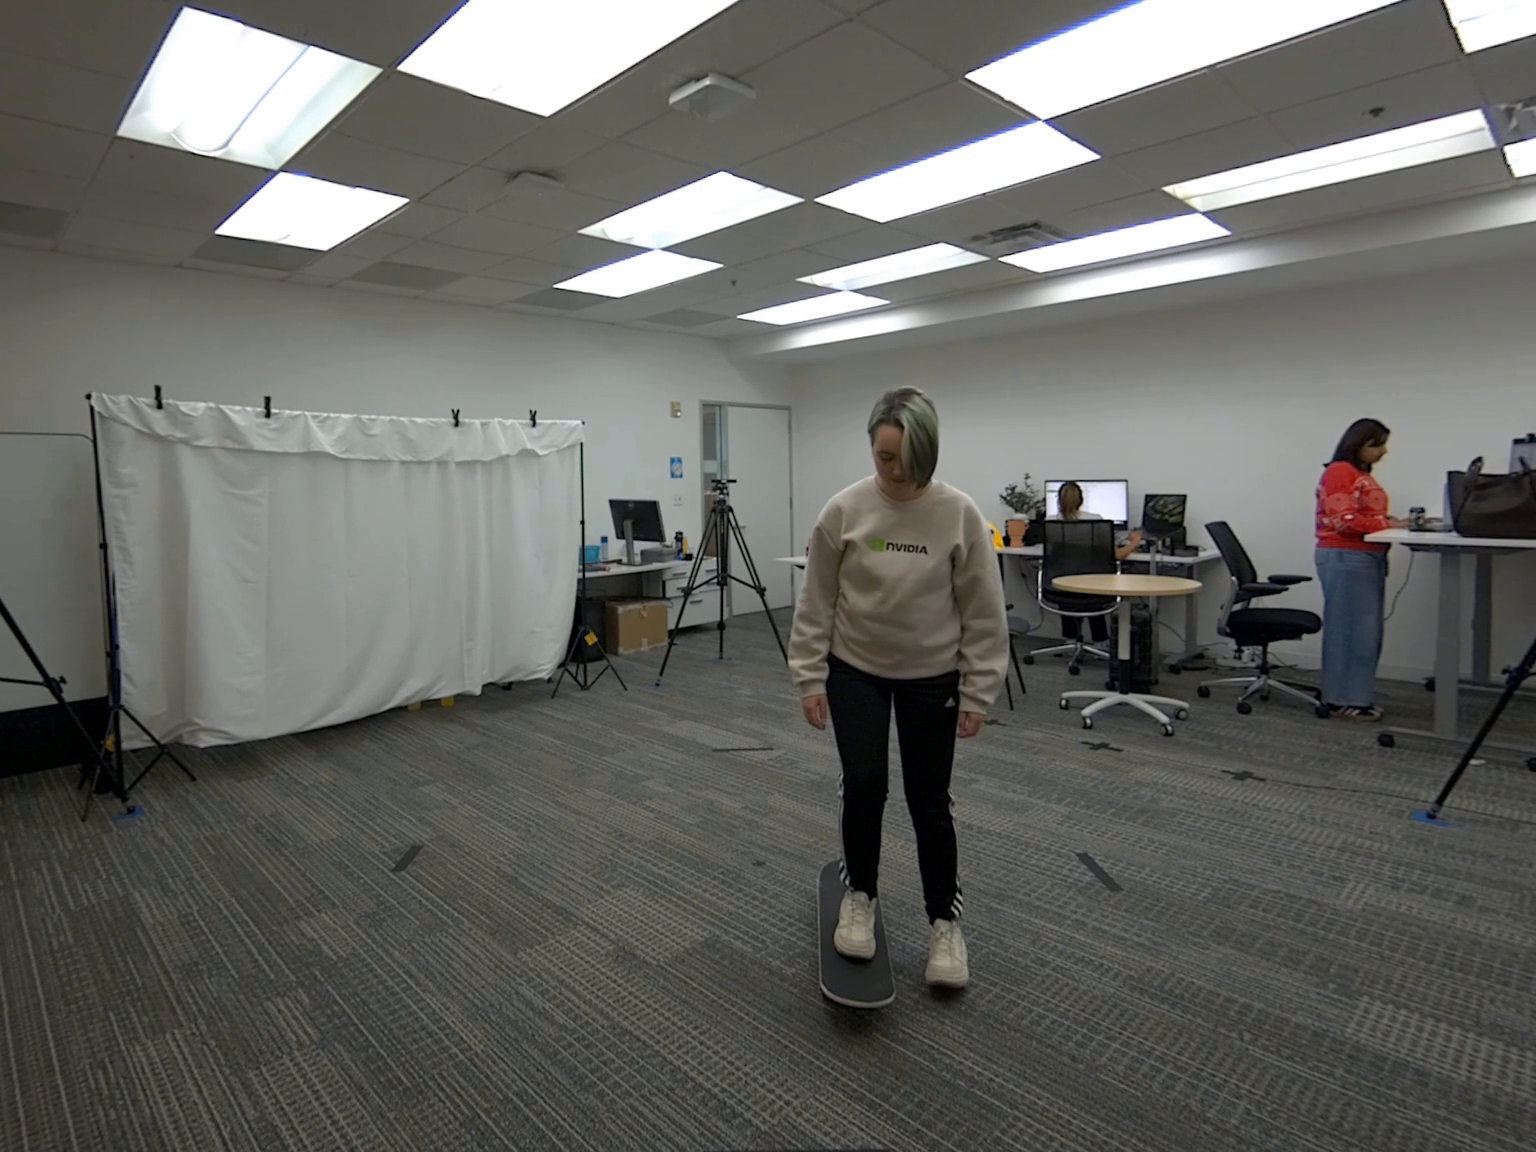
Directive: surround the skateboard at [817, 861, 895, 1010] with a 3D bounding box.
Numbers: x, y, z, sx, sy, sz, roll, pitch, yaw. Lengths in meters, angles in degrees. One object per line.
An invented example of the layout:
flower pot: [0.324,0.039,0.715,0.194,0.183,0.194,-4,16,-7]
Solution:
skateboard: [0.254,1.058,2.493,0.194,0.110,0.785,2,7,3]
